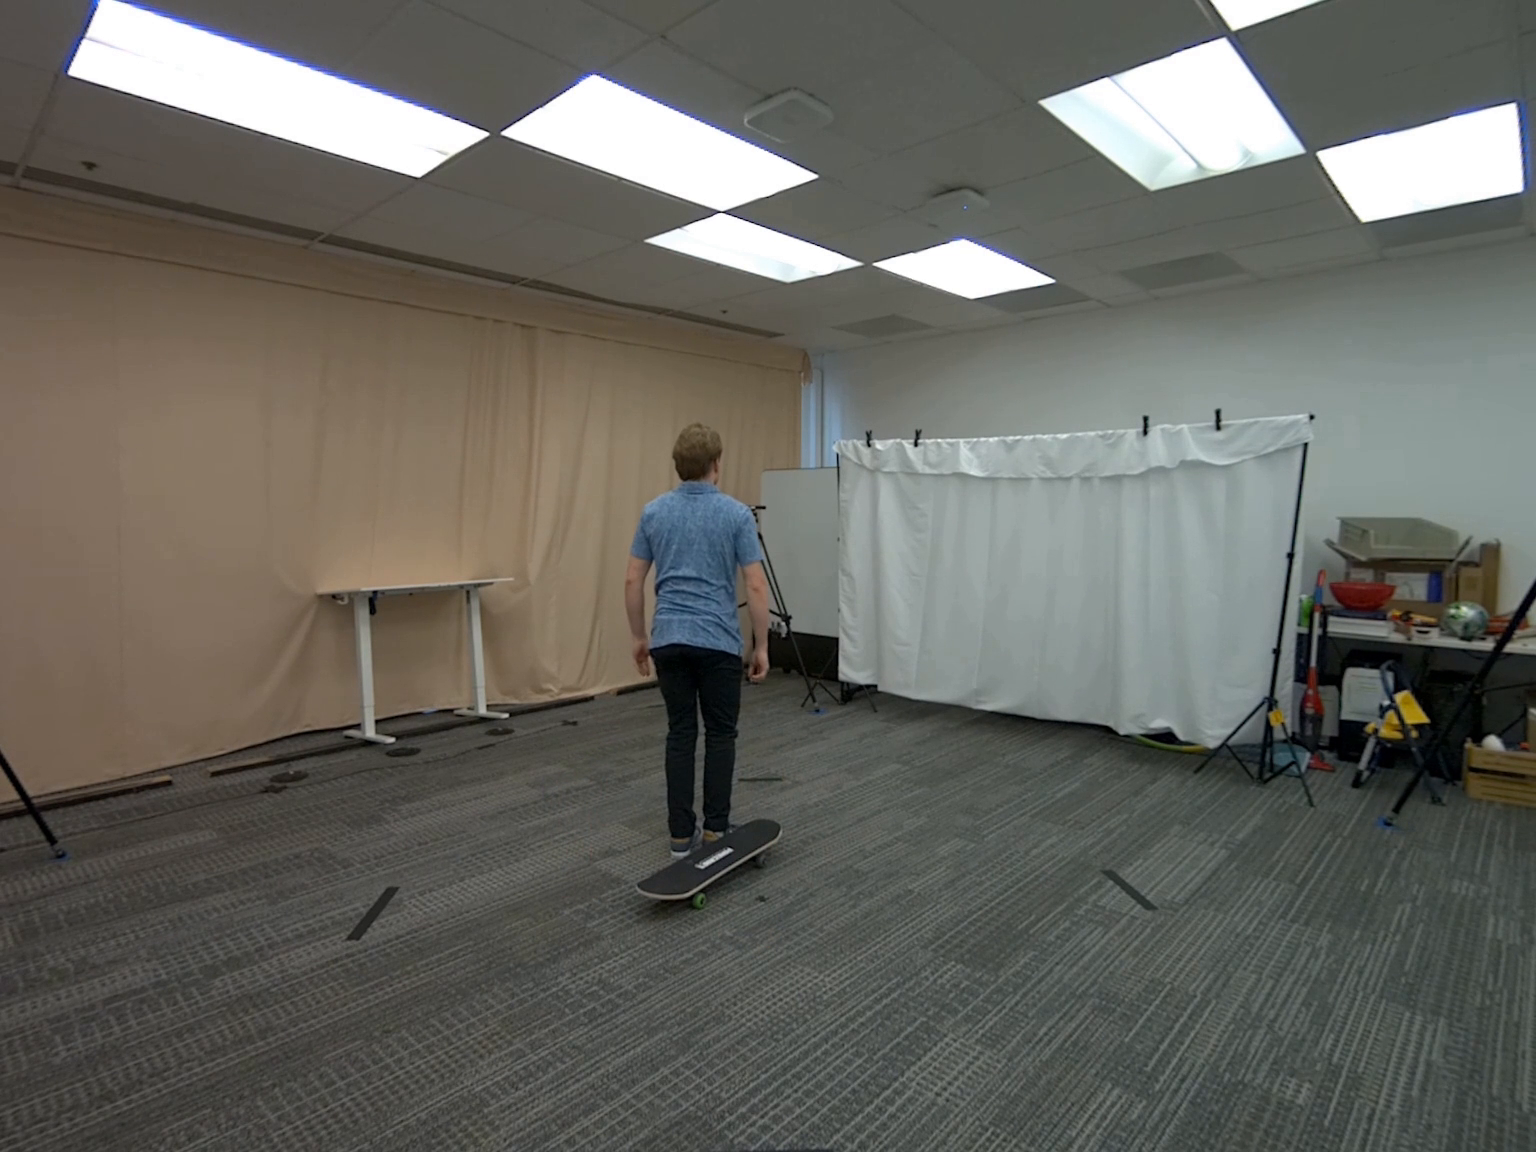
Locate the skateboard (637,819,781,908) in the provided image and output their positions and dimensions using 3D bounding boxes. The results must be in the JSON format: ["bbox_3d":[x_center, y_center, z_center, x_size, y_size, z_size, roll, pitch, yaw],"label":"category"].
[{"bbox_3d":[-0.195,1.074,3.124,0.199,0.110,0.764,2,5,33],"label":"skateboard"}]
